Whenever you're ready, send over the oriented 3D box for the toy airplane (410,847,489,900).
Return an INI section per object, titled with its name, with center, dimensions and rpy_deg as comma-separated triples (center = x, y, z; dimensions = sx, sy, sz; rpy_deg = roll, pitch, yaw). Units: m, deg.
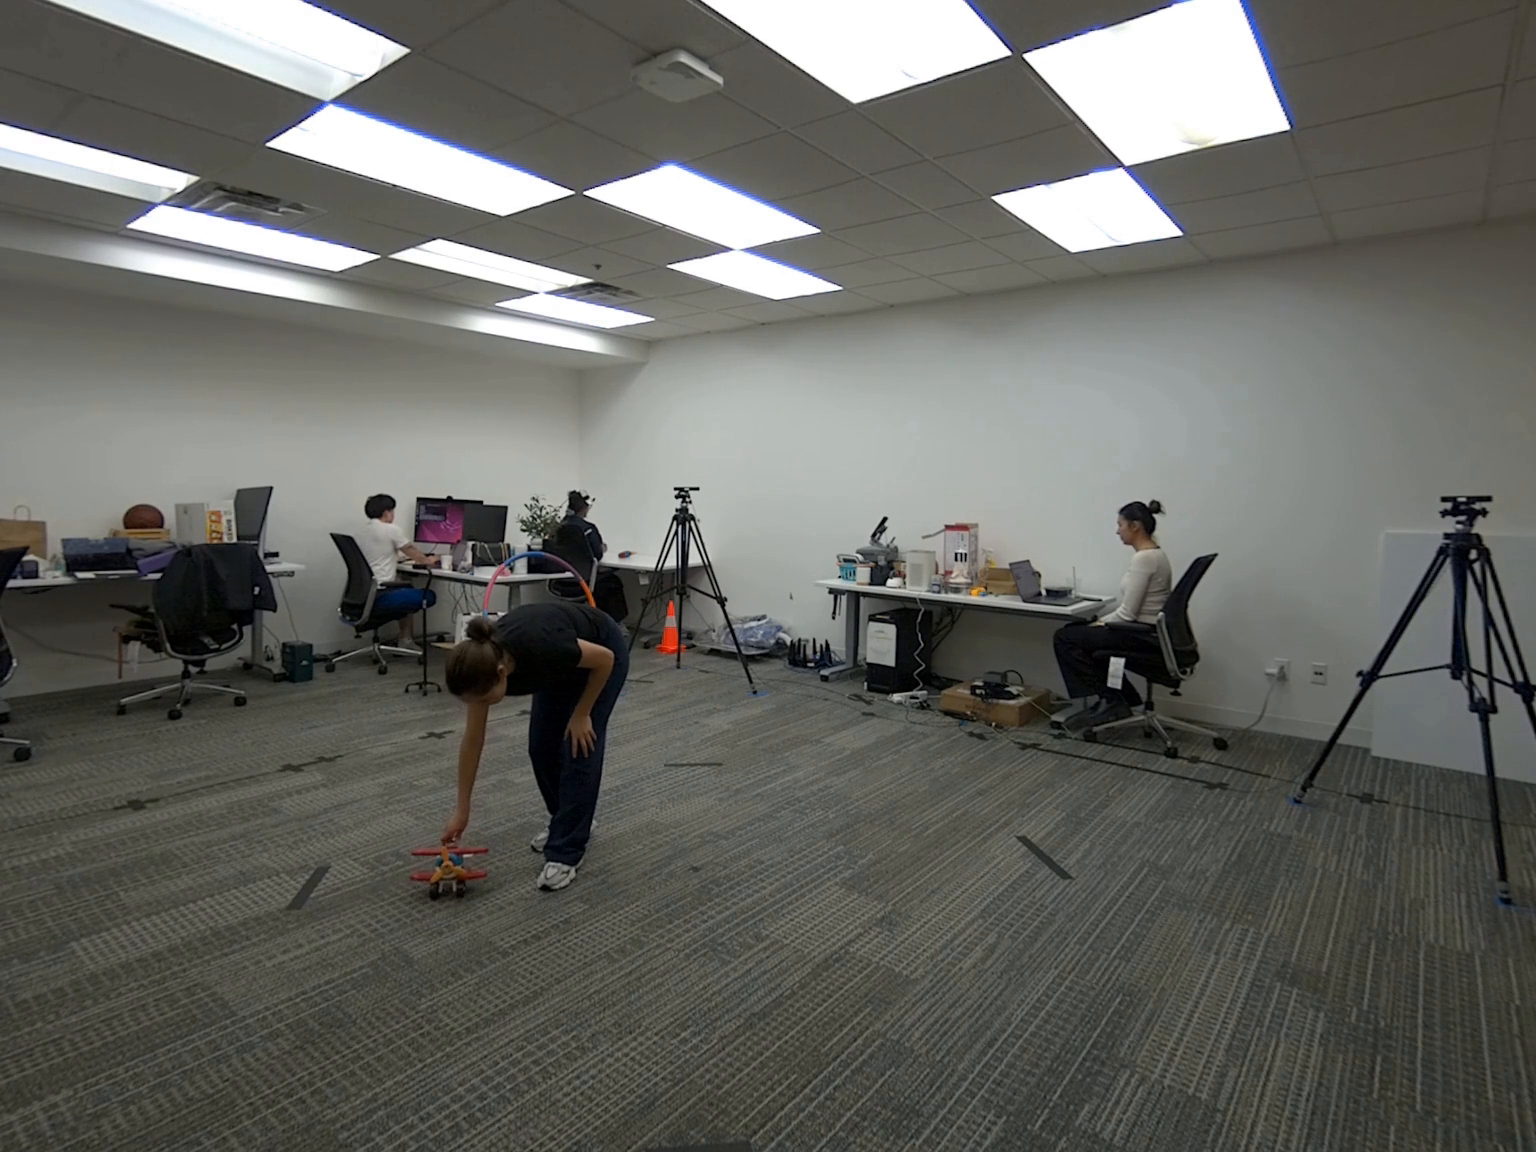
[toy airplane]
center = -1.104, 0.997, 2.959
dimensions = 0.243, 0.156, 0.268
rpy_deg = -2, 5, -38
